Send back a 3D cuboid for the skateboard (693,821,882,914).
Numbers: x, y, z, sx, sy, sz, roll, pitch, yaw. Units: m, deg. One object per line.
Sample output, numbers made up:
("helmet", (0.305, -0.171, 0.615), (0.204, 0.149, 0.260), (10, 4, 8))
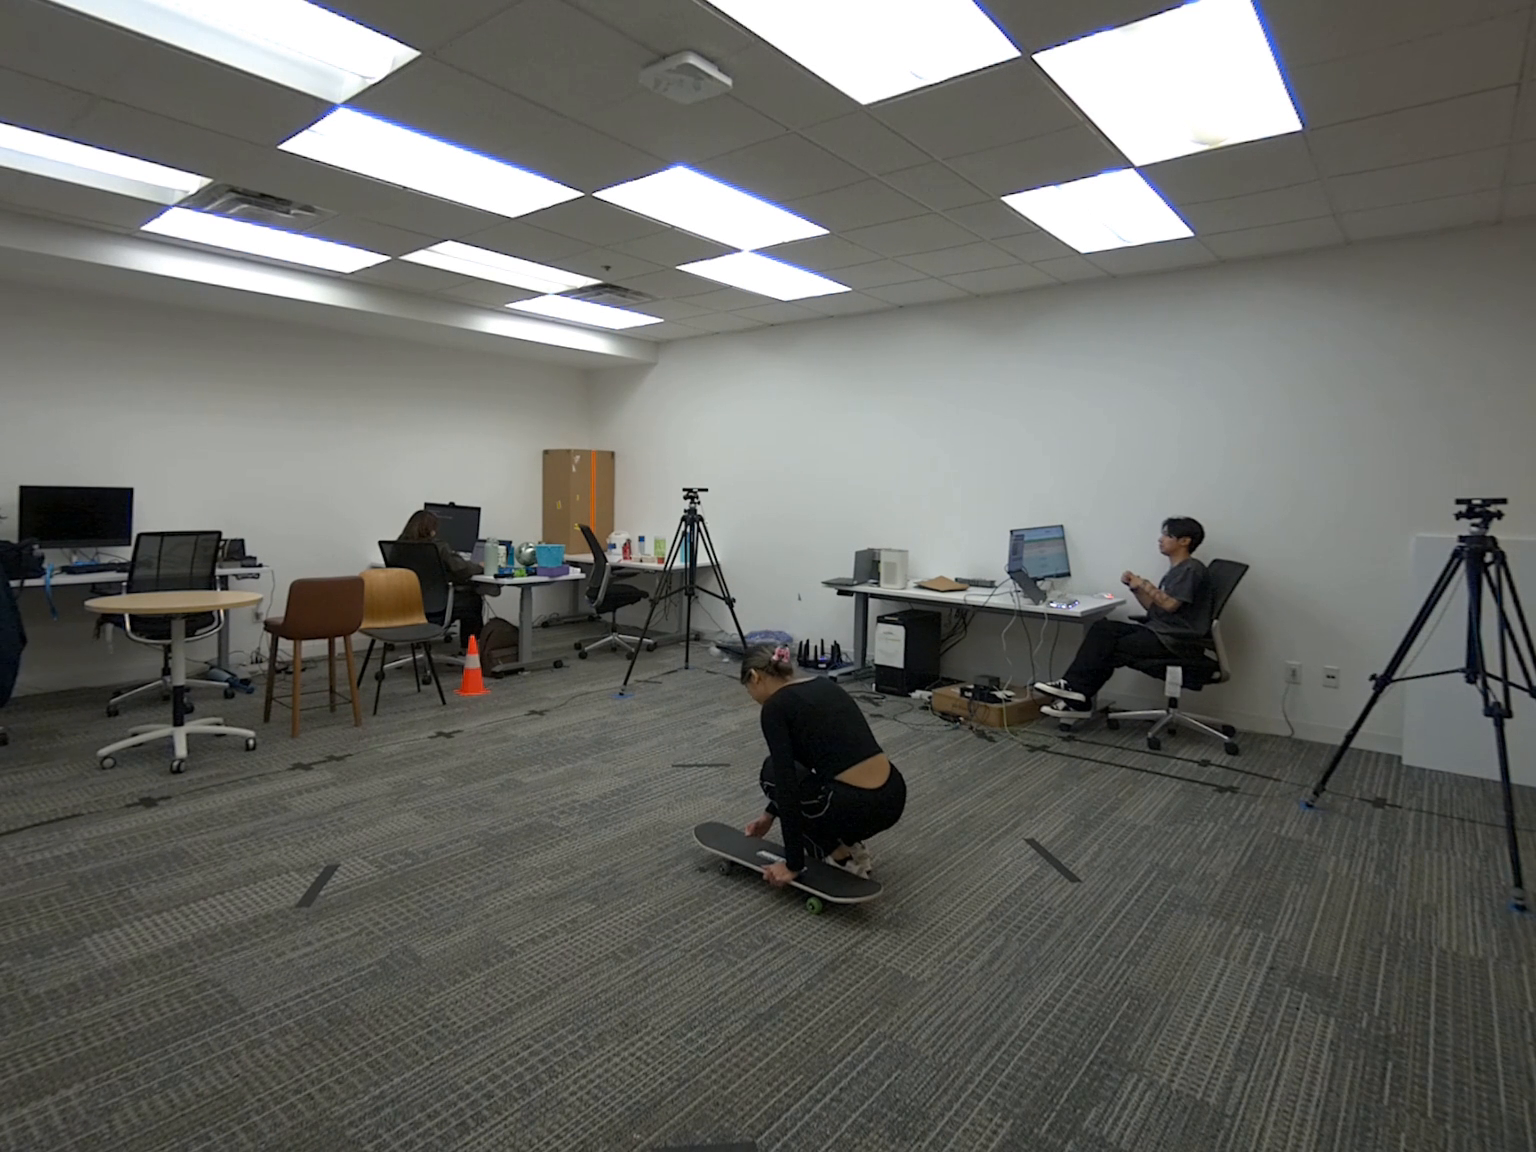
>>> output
("skateboard", (0.040, 1.024, 2.995), (0.812, 0.110, 0.188), (6, 9, 40))
